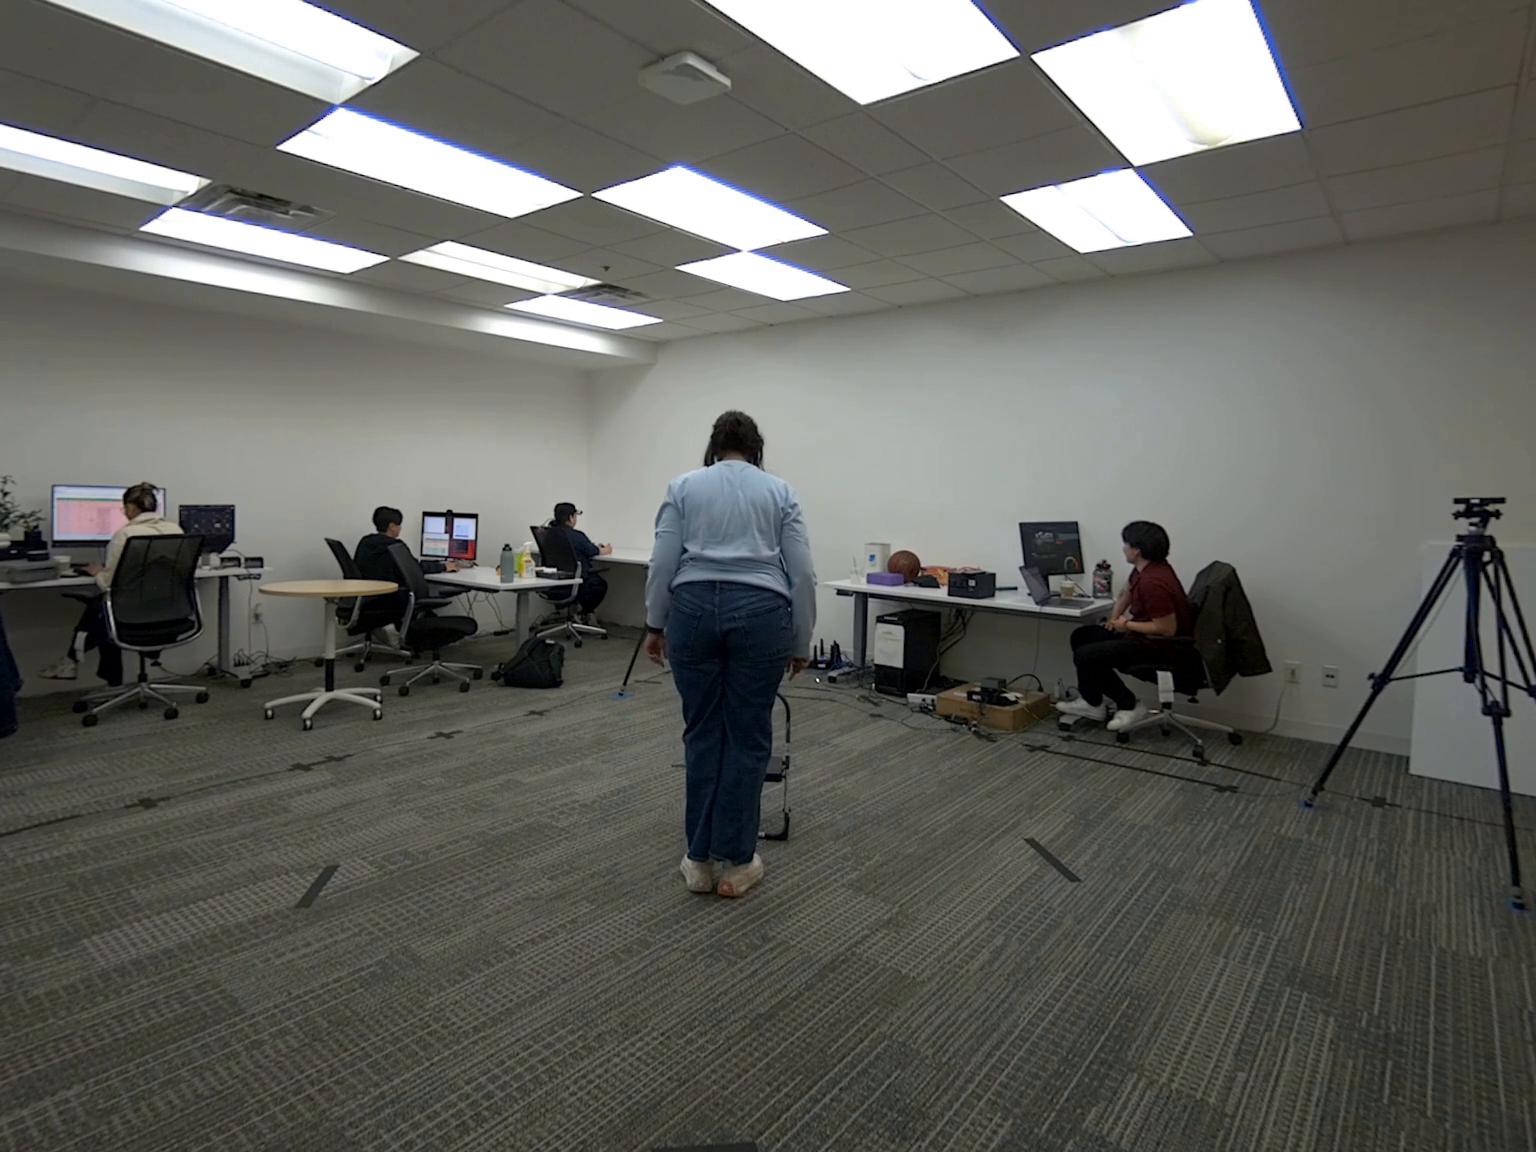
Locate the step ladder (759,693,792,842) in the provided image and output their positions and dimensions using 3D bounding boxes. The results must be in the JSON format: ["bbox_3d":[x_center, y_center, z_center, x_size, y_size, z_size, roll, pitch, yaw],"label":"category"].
[{"bbox_3d":[-0.122,0.724,3.552,0.433,0.605,0.348,1,3,4],"label":"step ladder"}]
